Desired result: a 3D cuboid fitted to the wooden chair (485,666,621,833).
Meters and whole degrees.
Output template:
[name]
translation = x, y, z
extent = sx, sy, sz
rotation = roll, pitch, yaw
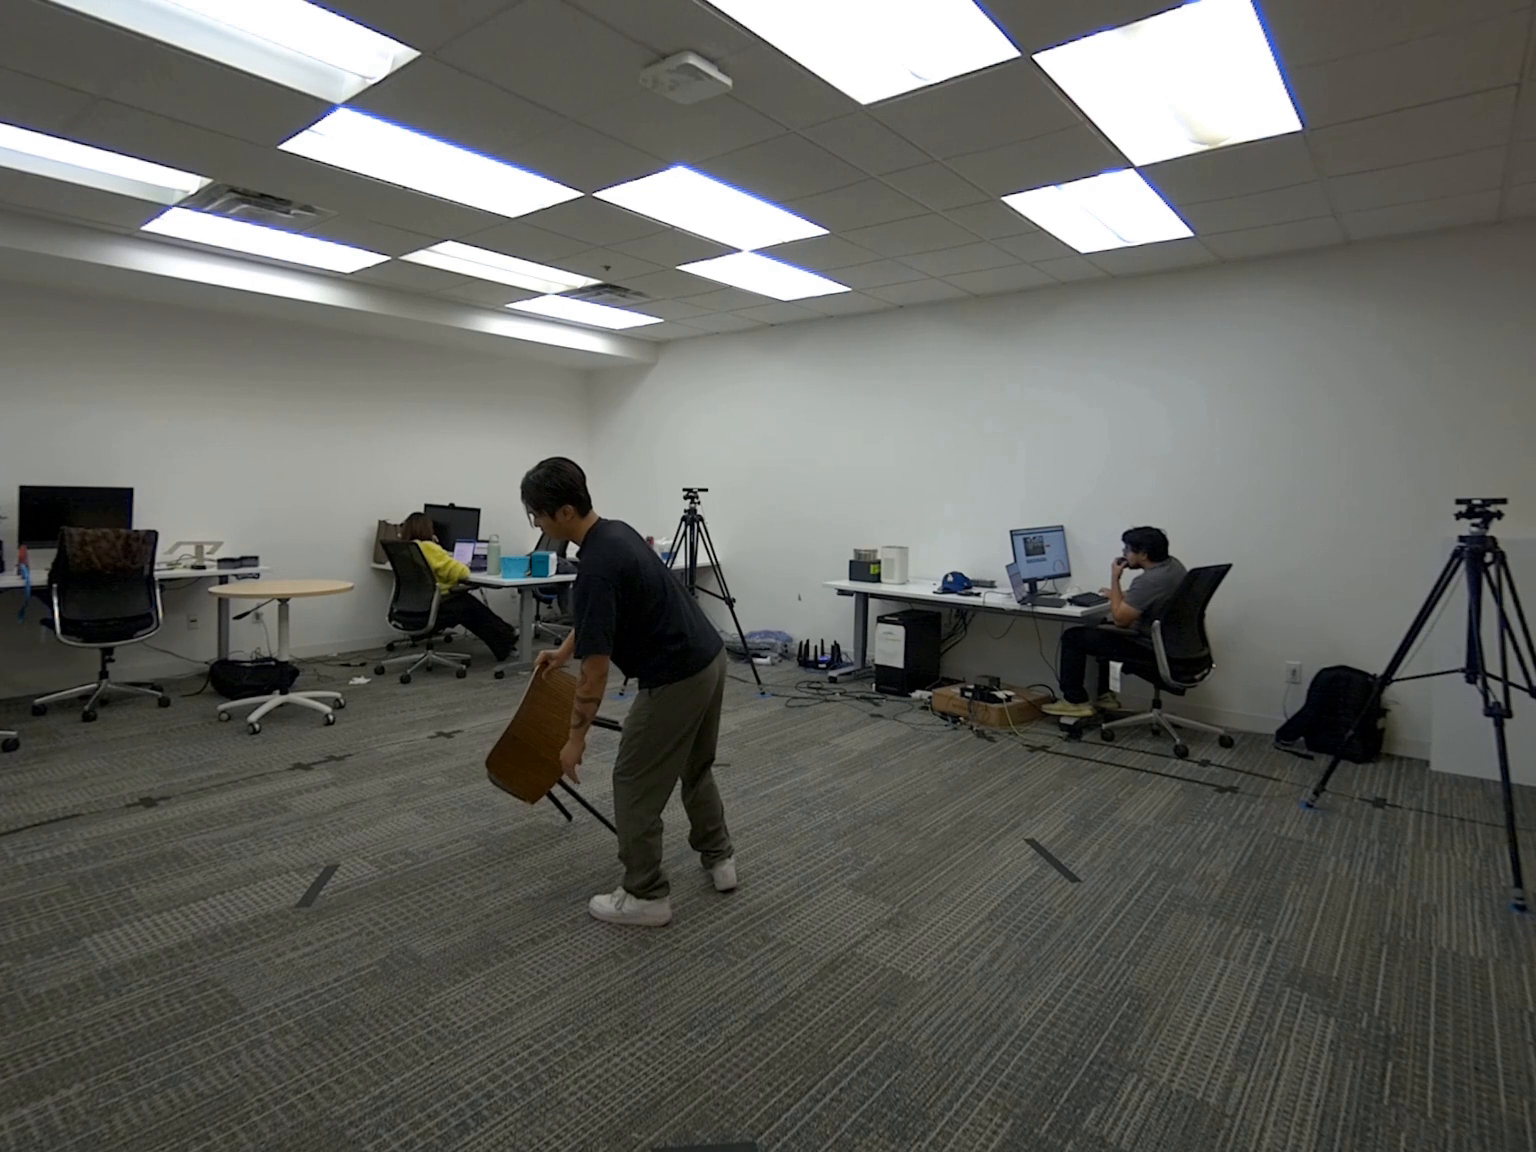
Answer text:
[wooden chair]
translation = -0.825, 0.629, 3.211
extent = 0.541, 0.482, 0.840
rotation = 8, -26, 39
